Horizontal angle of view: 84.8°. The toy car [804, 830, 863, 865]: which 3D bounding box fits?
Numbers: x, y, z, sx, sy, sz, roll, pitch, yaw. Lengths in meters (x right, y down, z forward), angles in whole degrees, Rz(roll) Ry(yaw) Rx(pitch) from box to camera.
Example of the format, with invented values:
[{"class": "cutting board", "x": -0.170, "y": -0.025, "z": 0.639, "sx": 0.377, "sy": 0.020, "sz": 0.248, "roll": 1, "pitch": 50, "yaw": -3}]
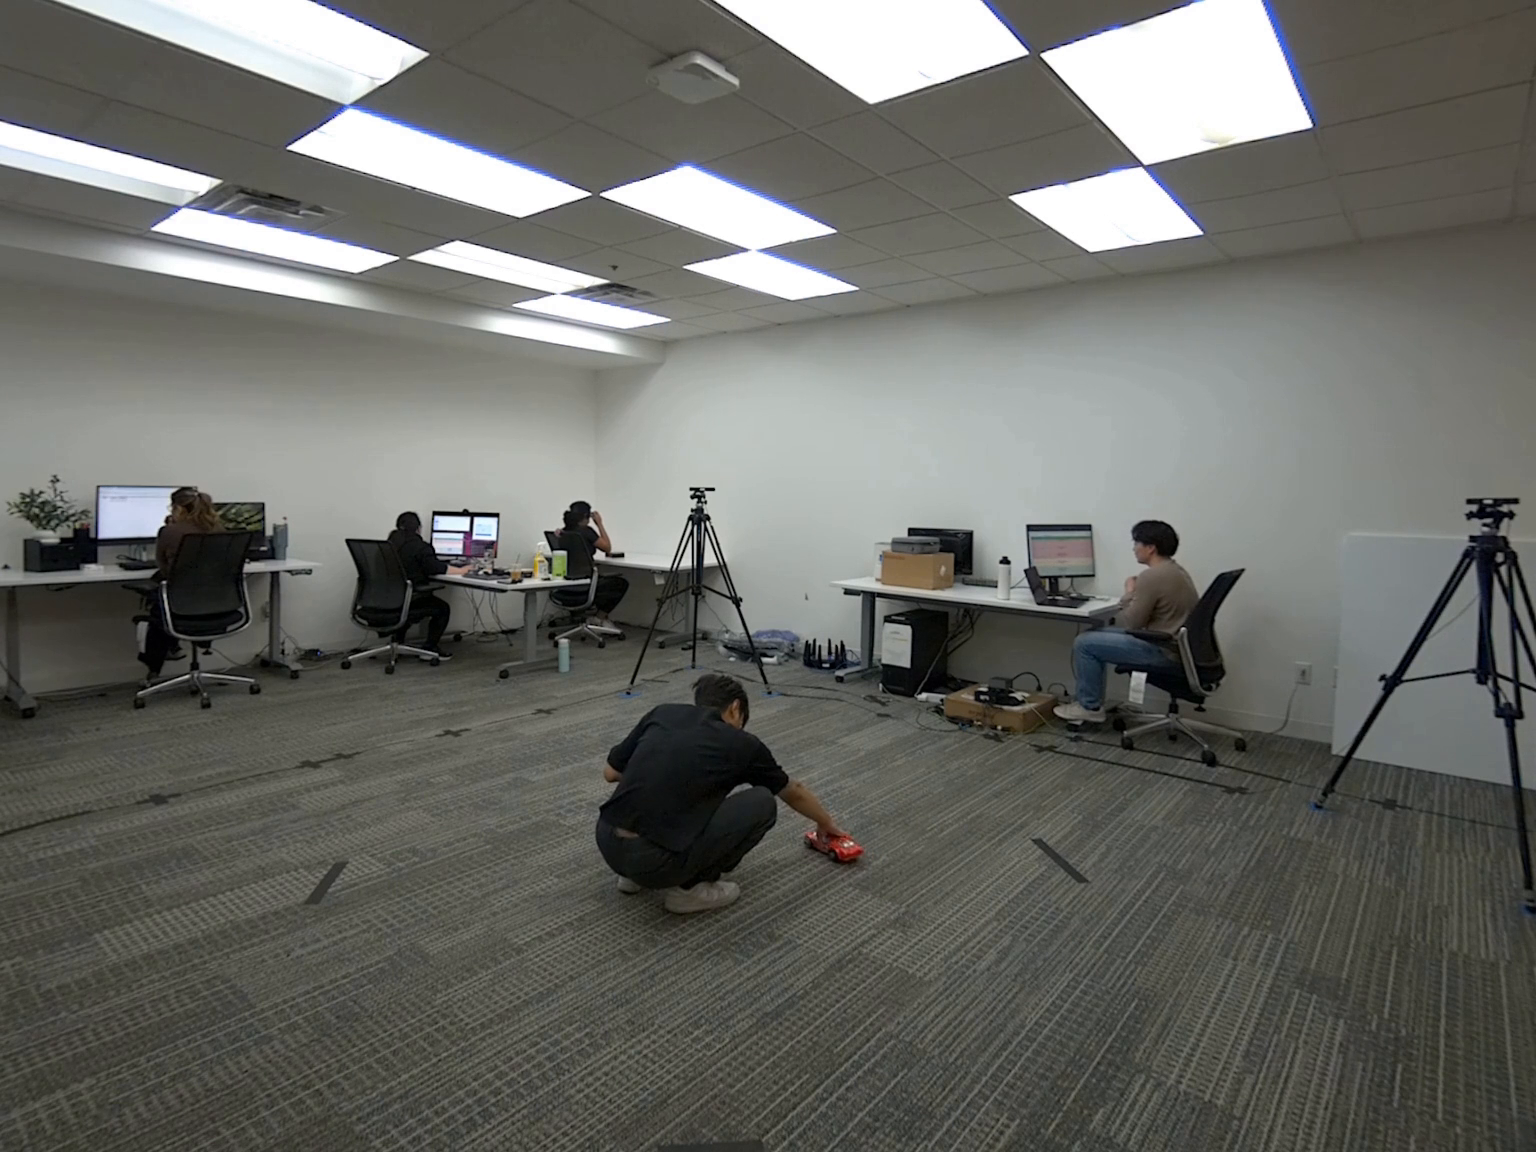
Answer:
[{"class": "toy car", "x": 0.246, "y": 1.035, "z": 3.254, "sx": 0.126, "sy": 0.083, "sz": 0.261, "roll": -2, "pitch": -4, "yaw": -35}]
